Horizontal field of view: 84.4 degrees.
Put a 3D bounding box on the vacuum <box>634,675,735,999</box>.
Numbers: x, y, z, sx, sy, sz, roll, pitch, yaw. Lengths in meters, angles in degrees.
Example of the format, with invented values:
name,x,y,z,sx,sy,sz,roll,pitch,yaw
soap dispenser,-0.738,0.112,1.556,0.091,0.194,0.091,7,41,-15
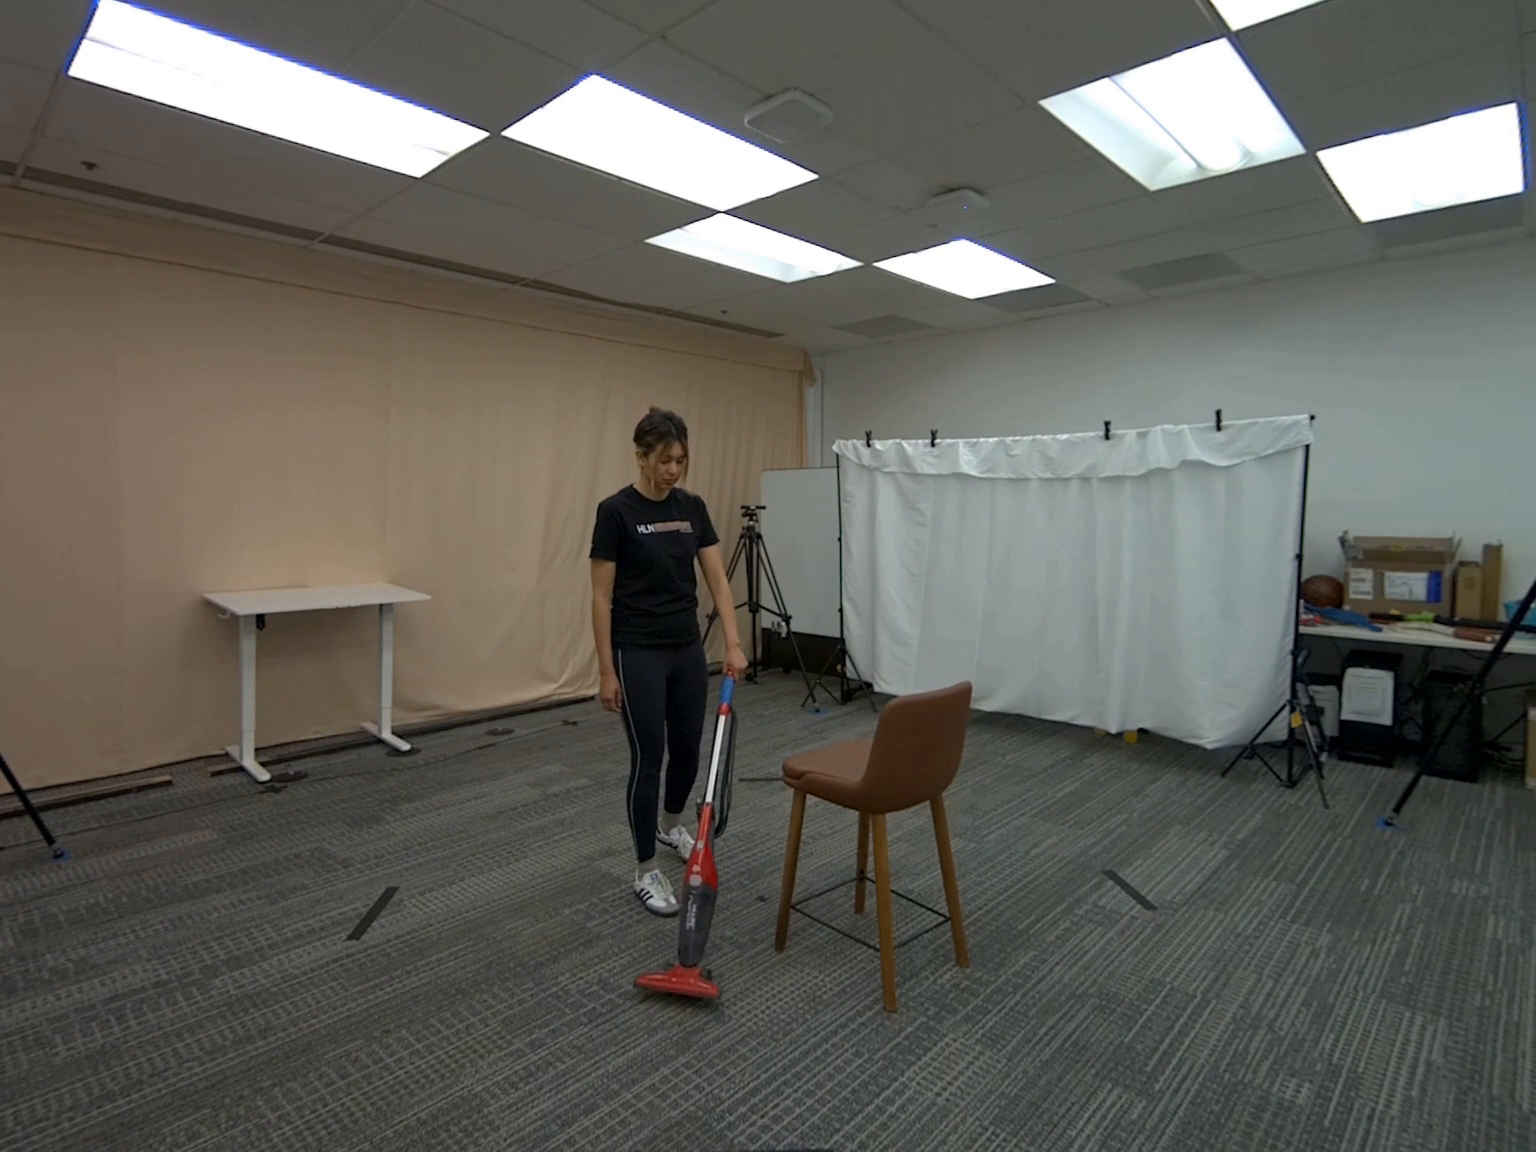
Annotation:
name,x,y,z,sx,sy,sz,roll,pitch,yaw
vacuum,-0.167,0.742,2.689,0.257,1.061,0.139,-3,-36,19
